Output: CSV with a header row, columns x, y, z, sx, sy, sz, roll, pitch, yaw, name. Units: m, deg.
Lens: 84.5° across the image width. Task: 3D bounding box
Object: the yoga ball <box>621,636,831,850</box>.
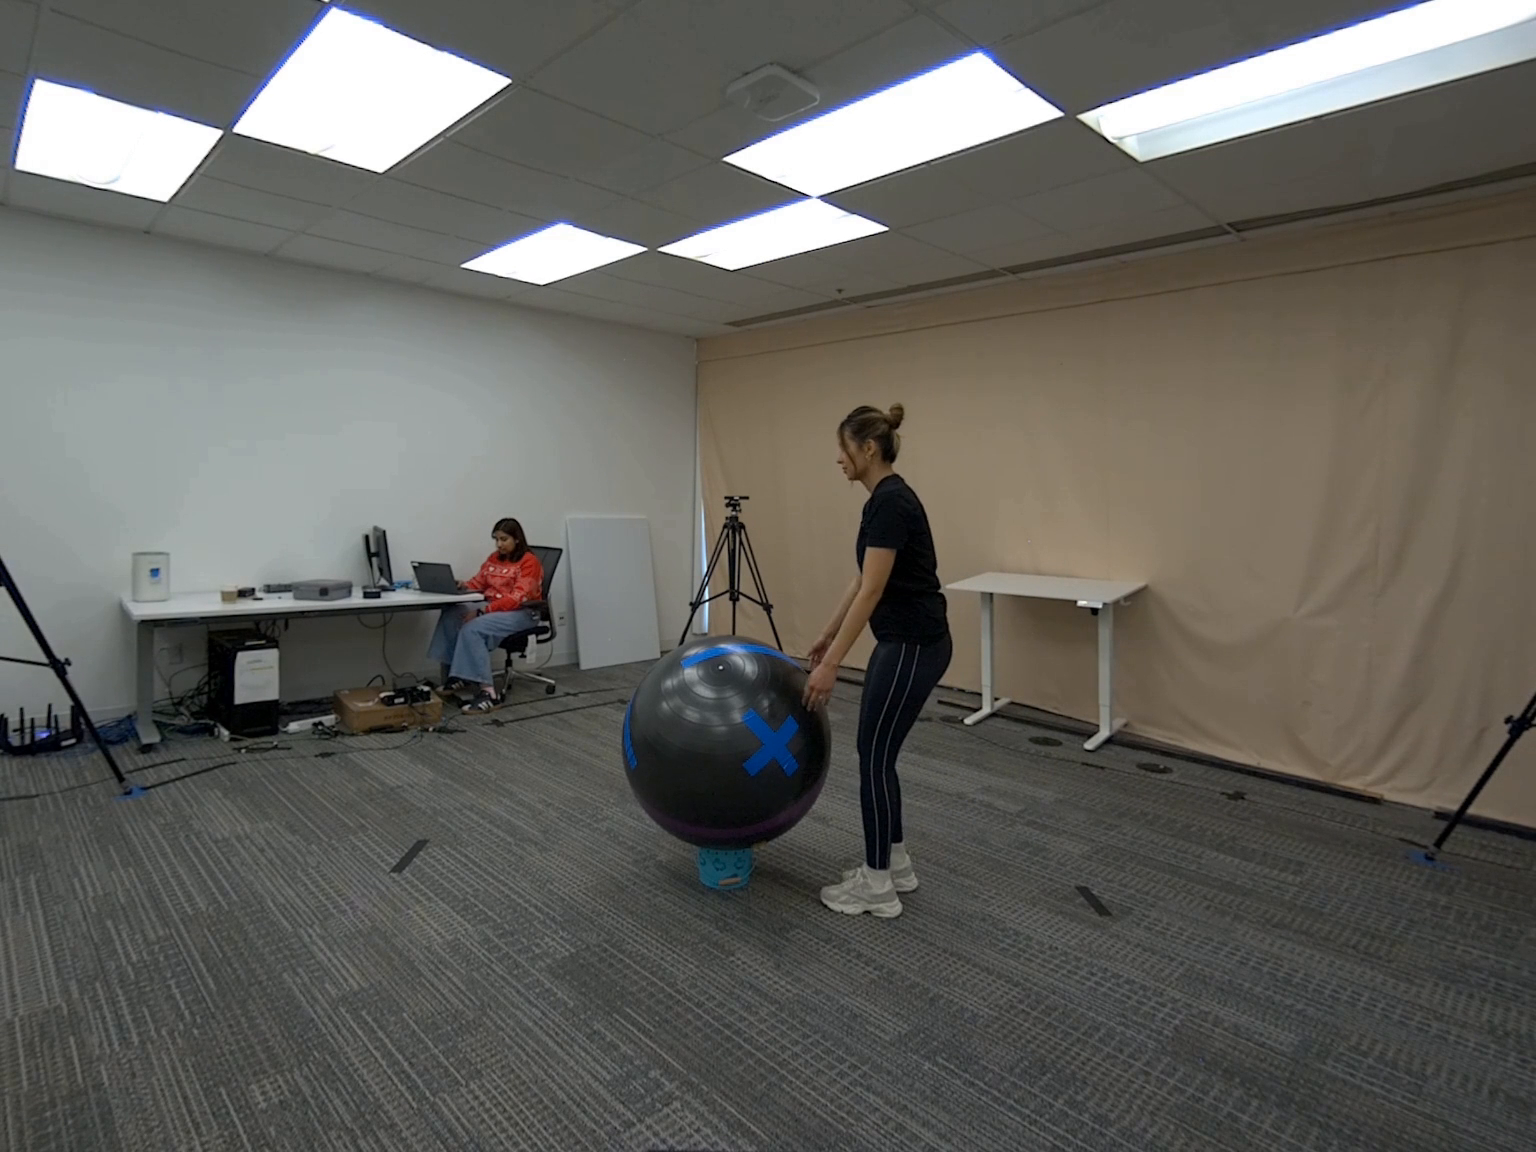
x,y,z,sx,sy,sz,roll,pitch,yaw,name
-0.152,0.597,3.050,0.757,0.756,0.761,1,4,-1,yoga ball
